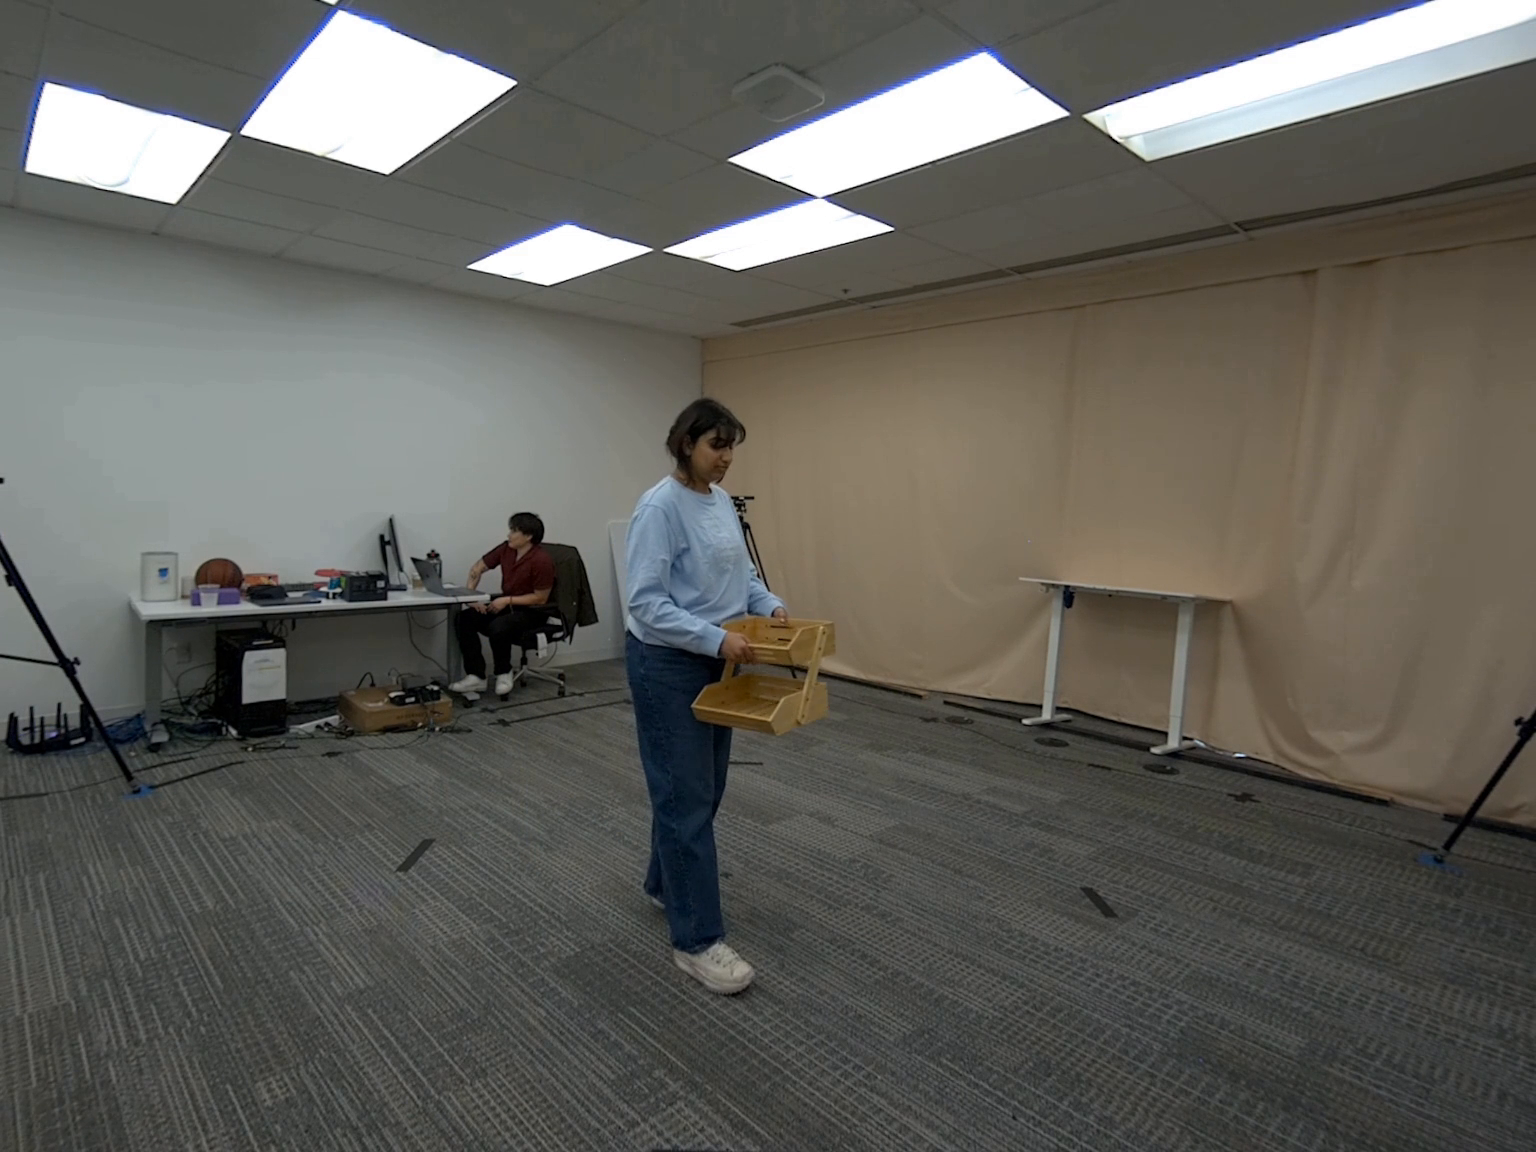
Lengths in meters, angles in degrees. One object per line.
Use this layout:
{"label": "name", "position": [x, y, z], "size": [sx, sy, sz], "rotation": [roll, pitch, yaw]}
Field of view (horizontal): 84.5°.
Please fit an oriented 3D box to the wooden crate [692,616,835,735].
{"label": "wooden crate", "position": [-0.030, 0.272, 2.396], "size": [0.332, 0.272, 0.296], "rotation": [1, 7, 42]}
